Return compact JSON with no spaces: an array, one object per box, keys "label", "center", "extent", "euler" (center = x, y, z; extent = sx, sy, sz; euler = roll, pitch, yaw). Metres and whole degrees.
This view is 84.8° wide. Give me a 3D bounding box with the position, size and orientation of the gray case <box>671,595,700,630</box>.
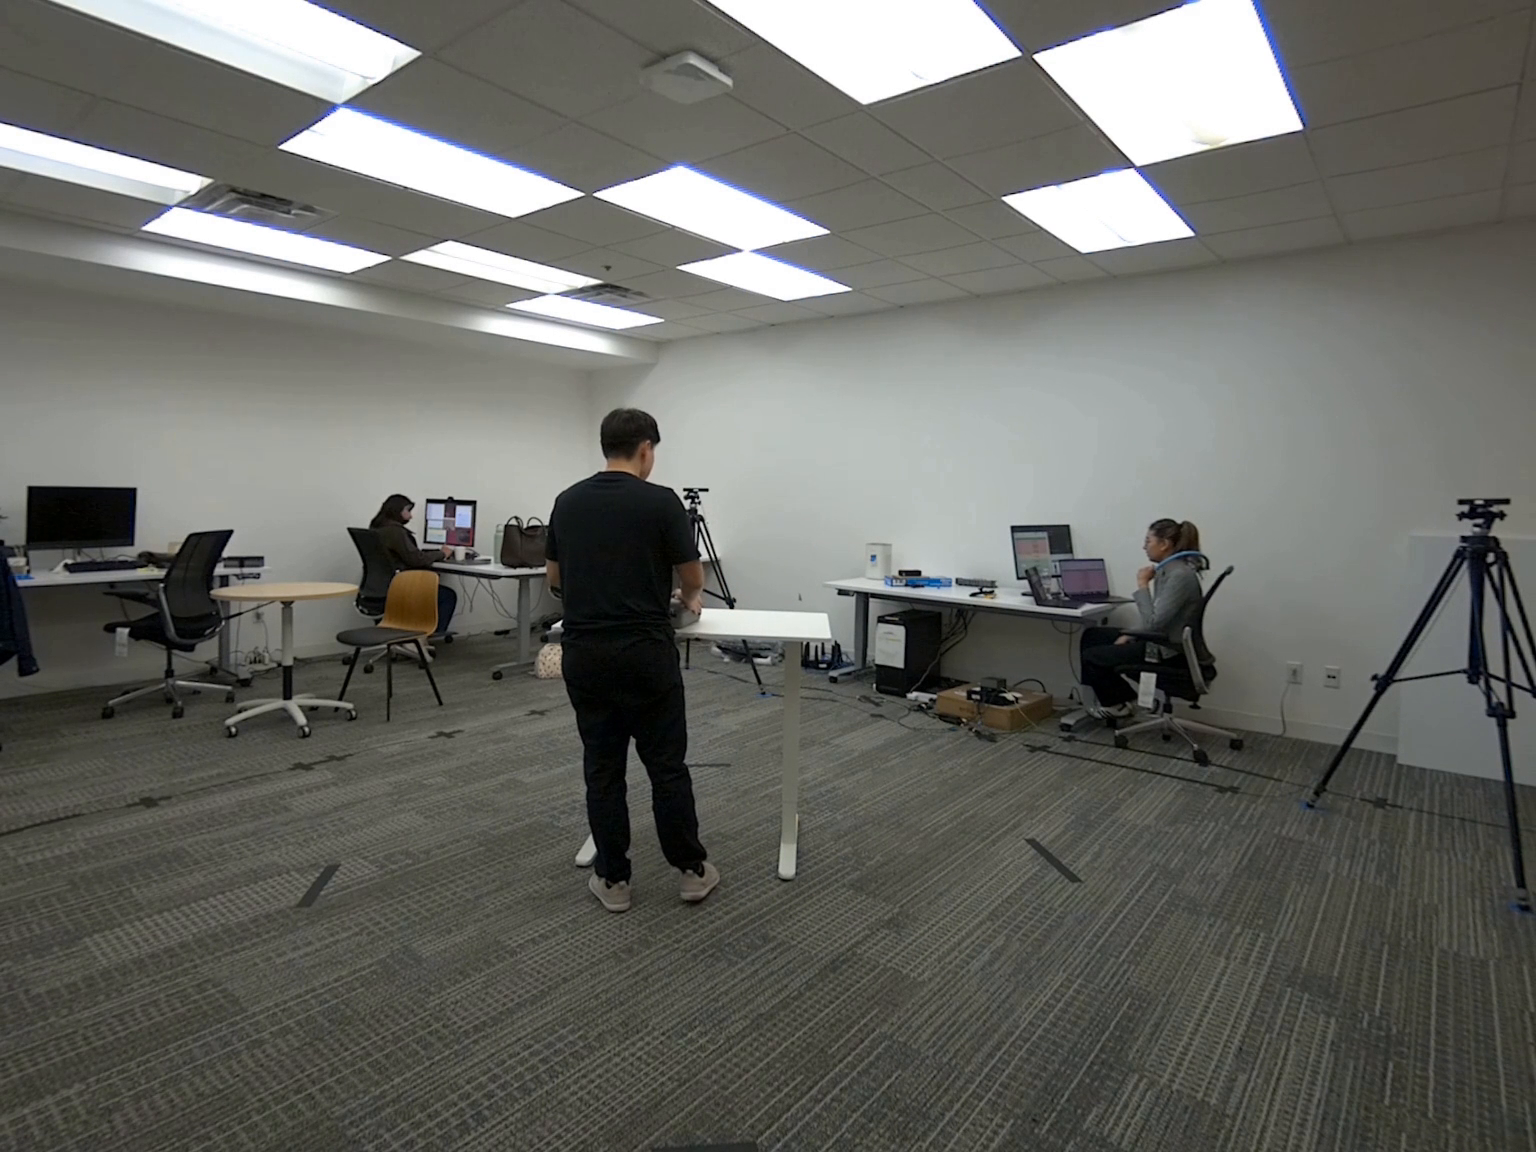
[{"label":"gray case","center":[-0.410,0.123,3.220],"extent":[0.262,0.104,0.257],"euler":[1,6,18]}]
